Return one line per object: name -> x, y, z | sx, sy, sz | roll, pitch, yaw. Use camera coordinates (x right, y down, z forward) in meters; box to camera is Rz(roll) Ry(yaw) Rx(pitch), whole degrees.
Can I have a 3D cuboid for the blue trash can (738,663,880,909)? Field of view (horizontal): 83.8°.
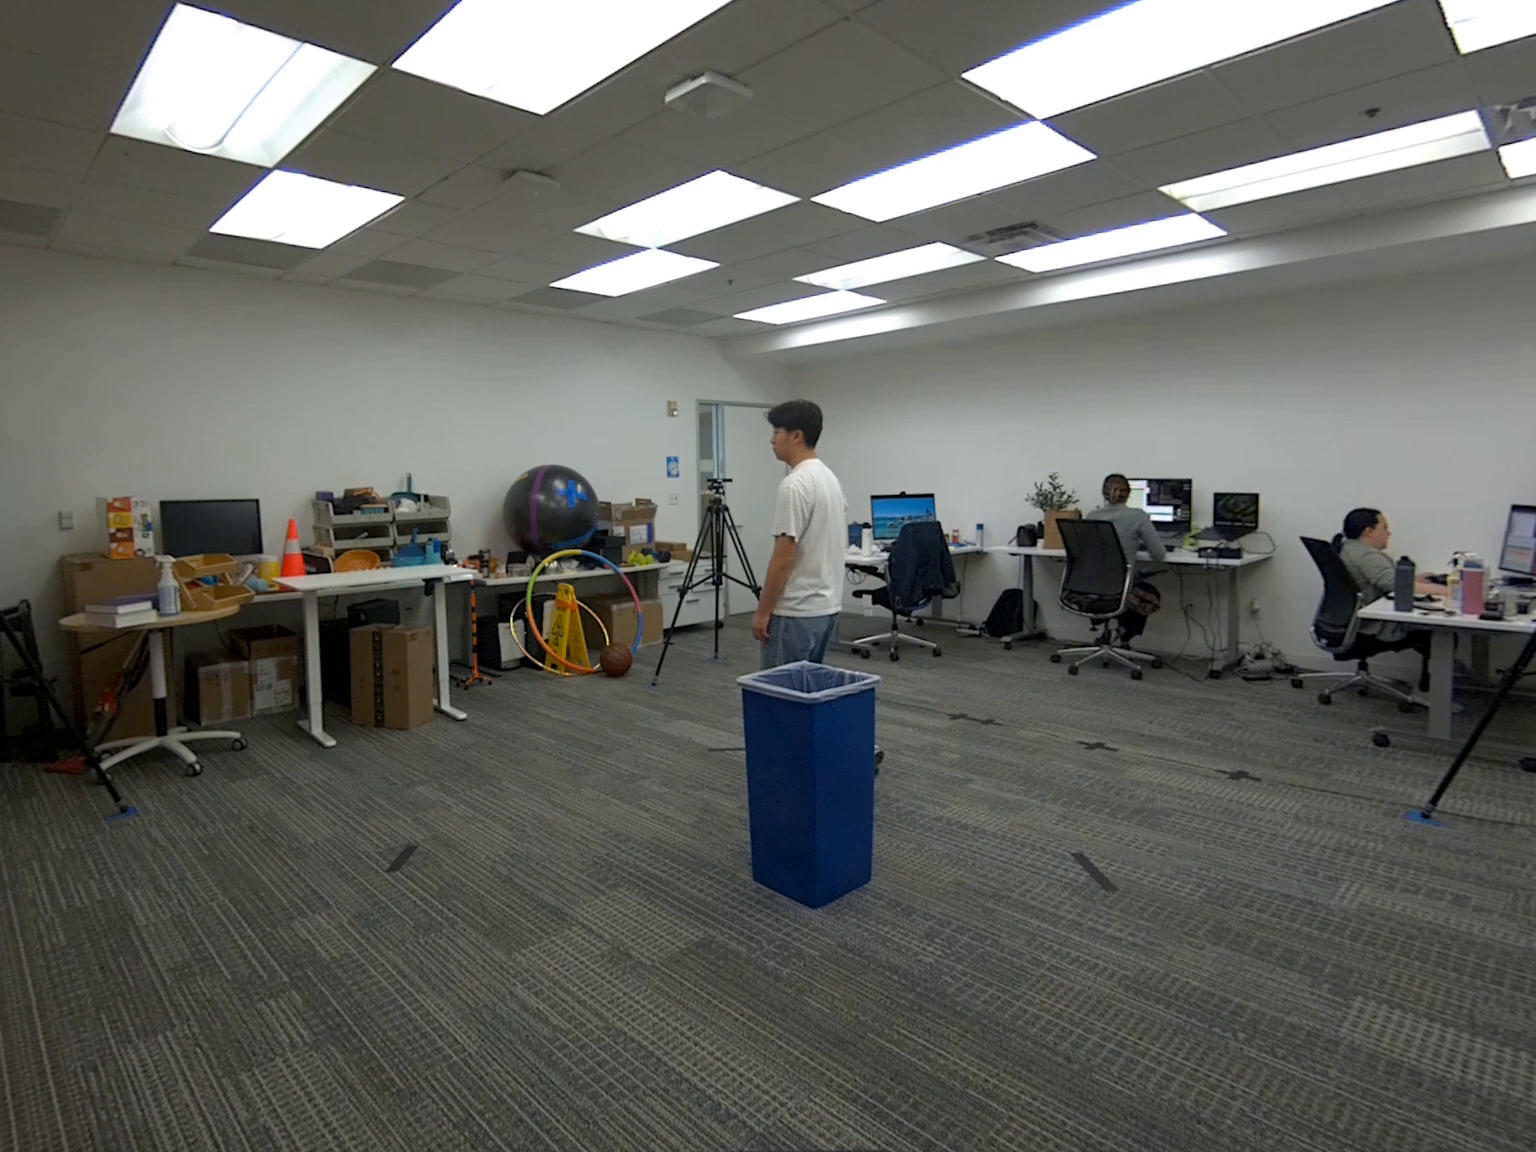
blue trash can -> 0.143, 0.704, 2.942 | 0.364, 0.711, 0.389 | -4, 5, -44
